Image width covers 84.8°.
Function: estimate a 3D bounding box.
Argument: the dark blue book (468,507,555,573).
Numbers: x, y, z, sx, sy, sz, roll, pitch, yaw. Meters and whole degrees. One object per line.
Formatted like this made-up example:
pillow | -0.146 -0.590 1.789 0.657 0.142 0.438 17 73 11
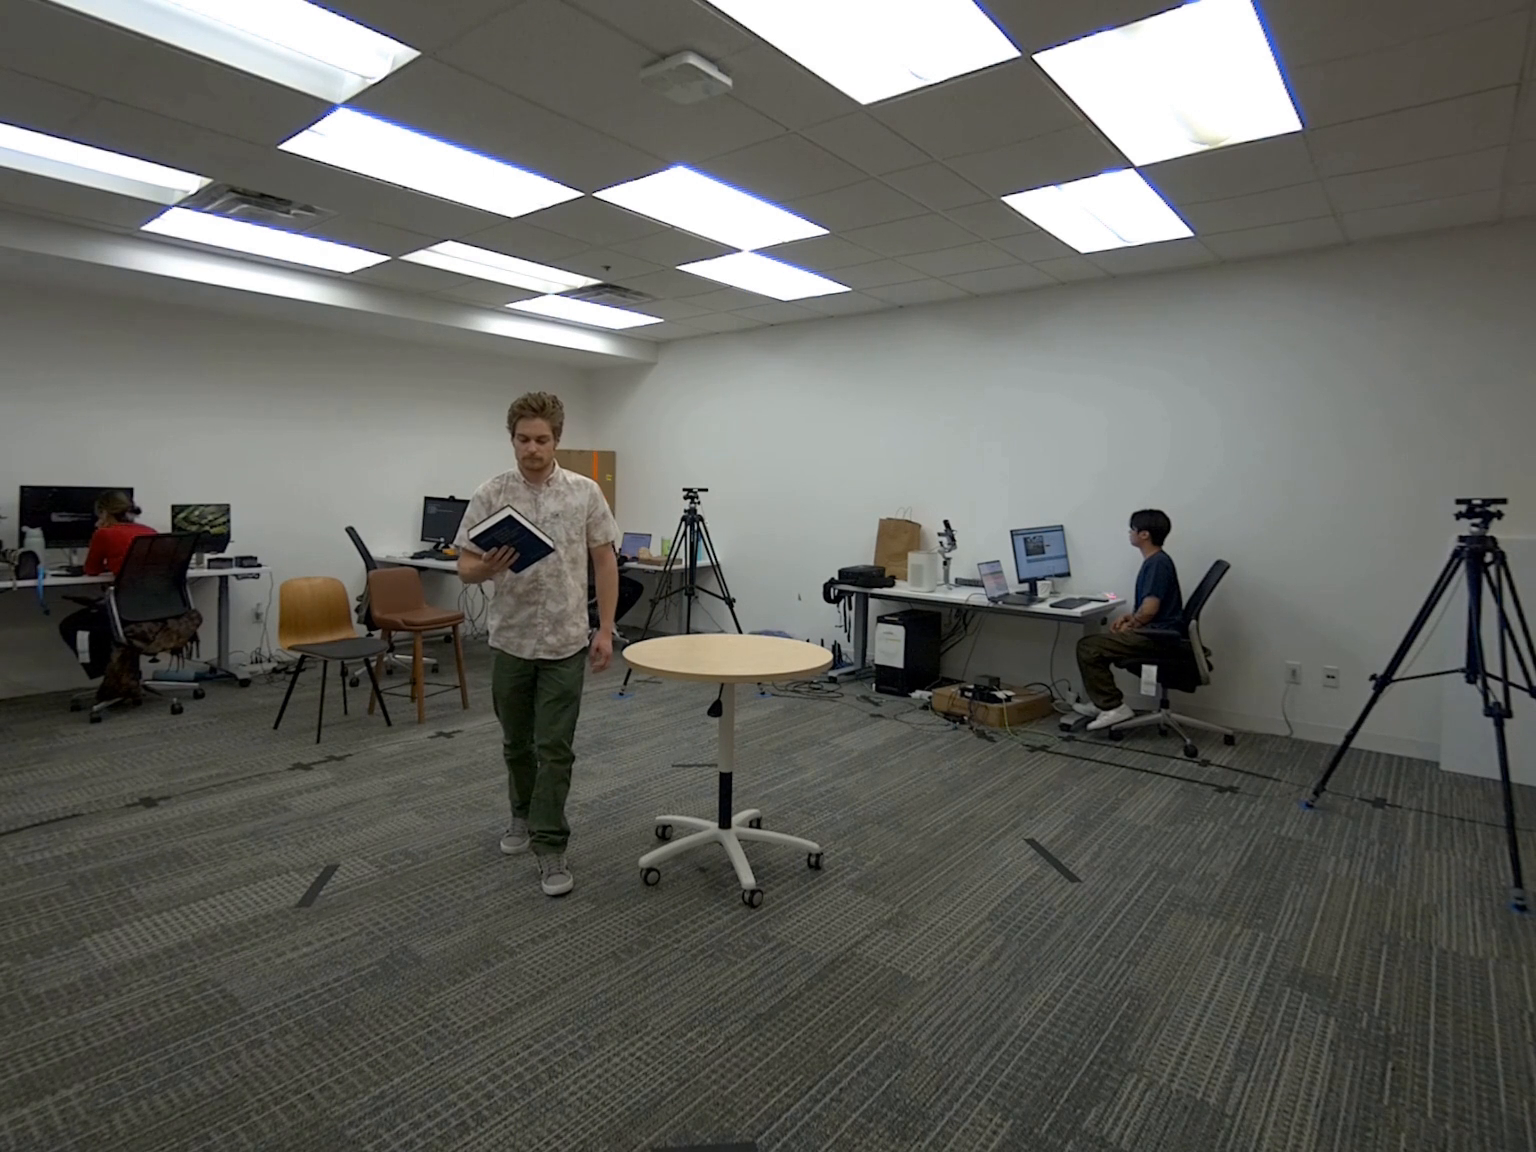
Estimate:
dark blue book | -0.842 -0.118 2.727 0.164 0.047 0.235 -29 -36 9
